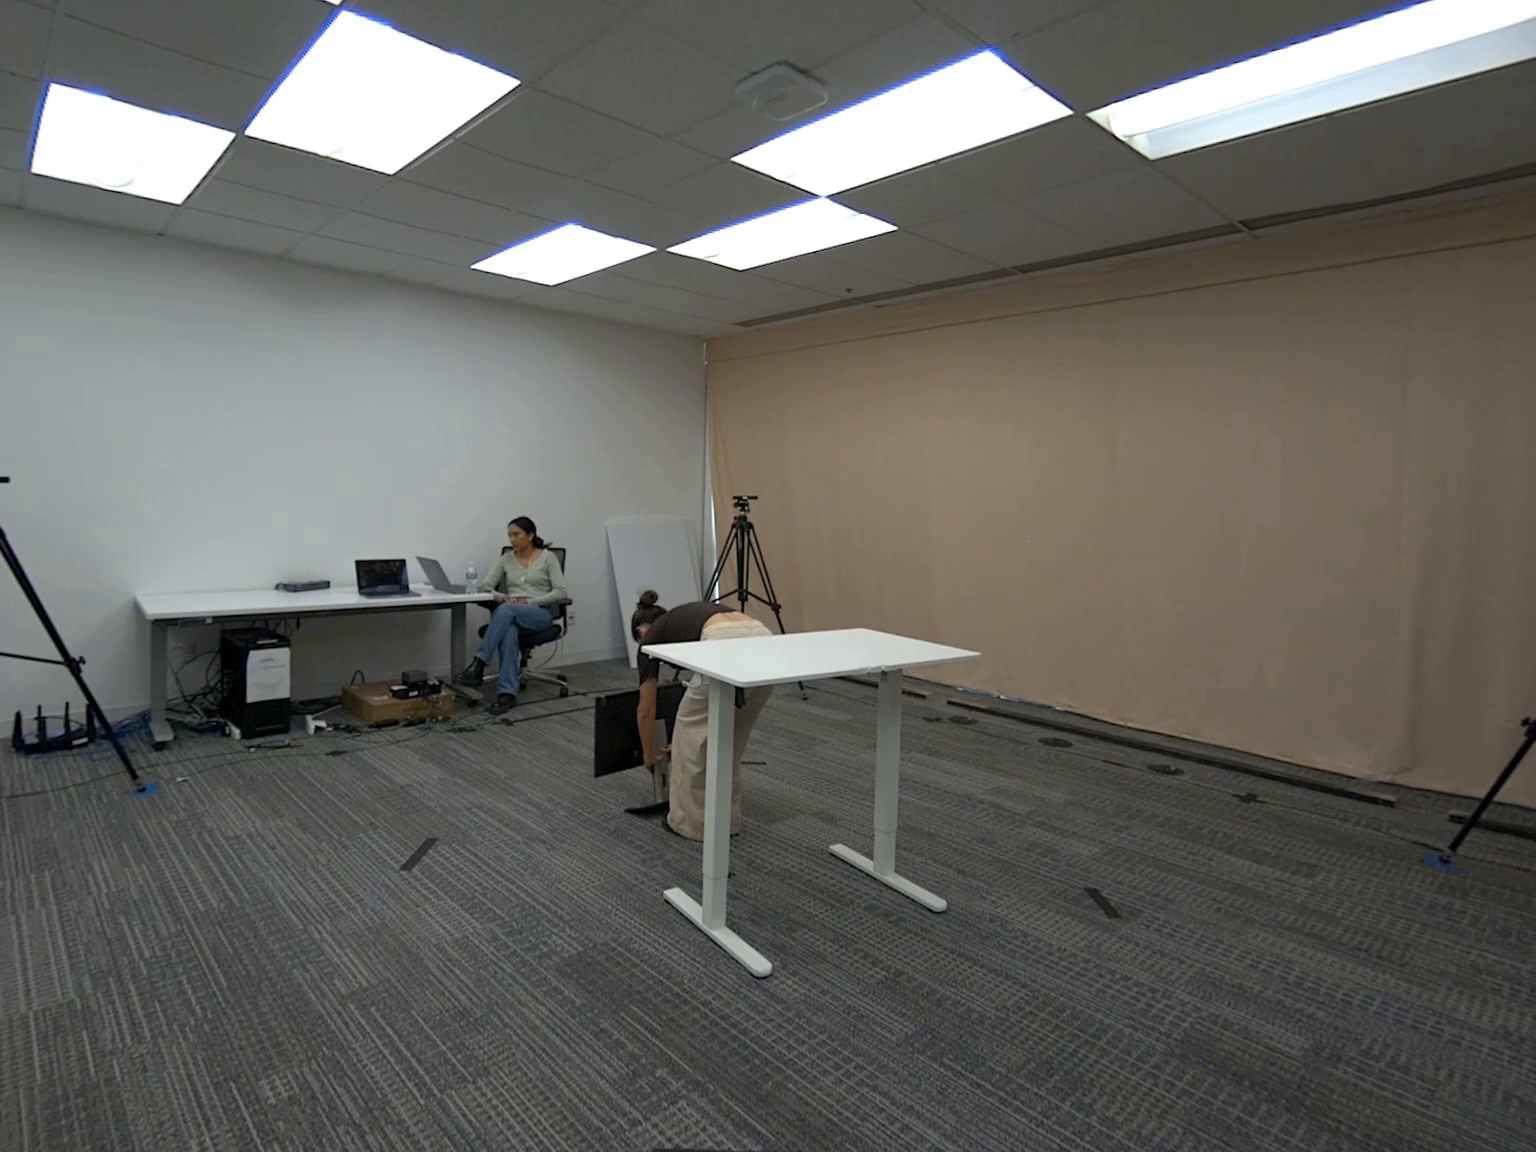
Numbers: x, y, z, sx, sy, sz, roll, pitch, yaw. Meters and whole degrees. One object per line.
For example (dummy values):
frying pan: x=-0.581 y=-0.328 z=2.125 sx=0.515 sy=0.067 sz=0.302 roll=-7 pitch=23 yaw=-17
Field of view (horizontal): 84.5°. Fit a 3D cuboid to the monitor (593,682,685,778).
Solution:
monitor: x=-0.521 y=0.766 z=3.769 sx=0.190 sy=0.525 sz=0.527 roll=-15 pitch=-8 yaw=42
